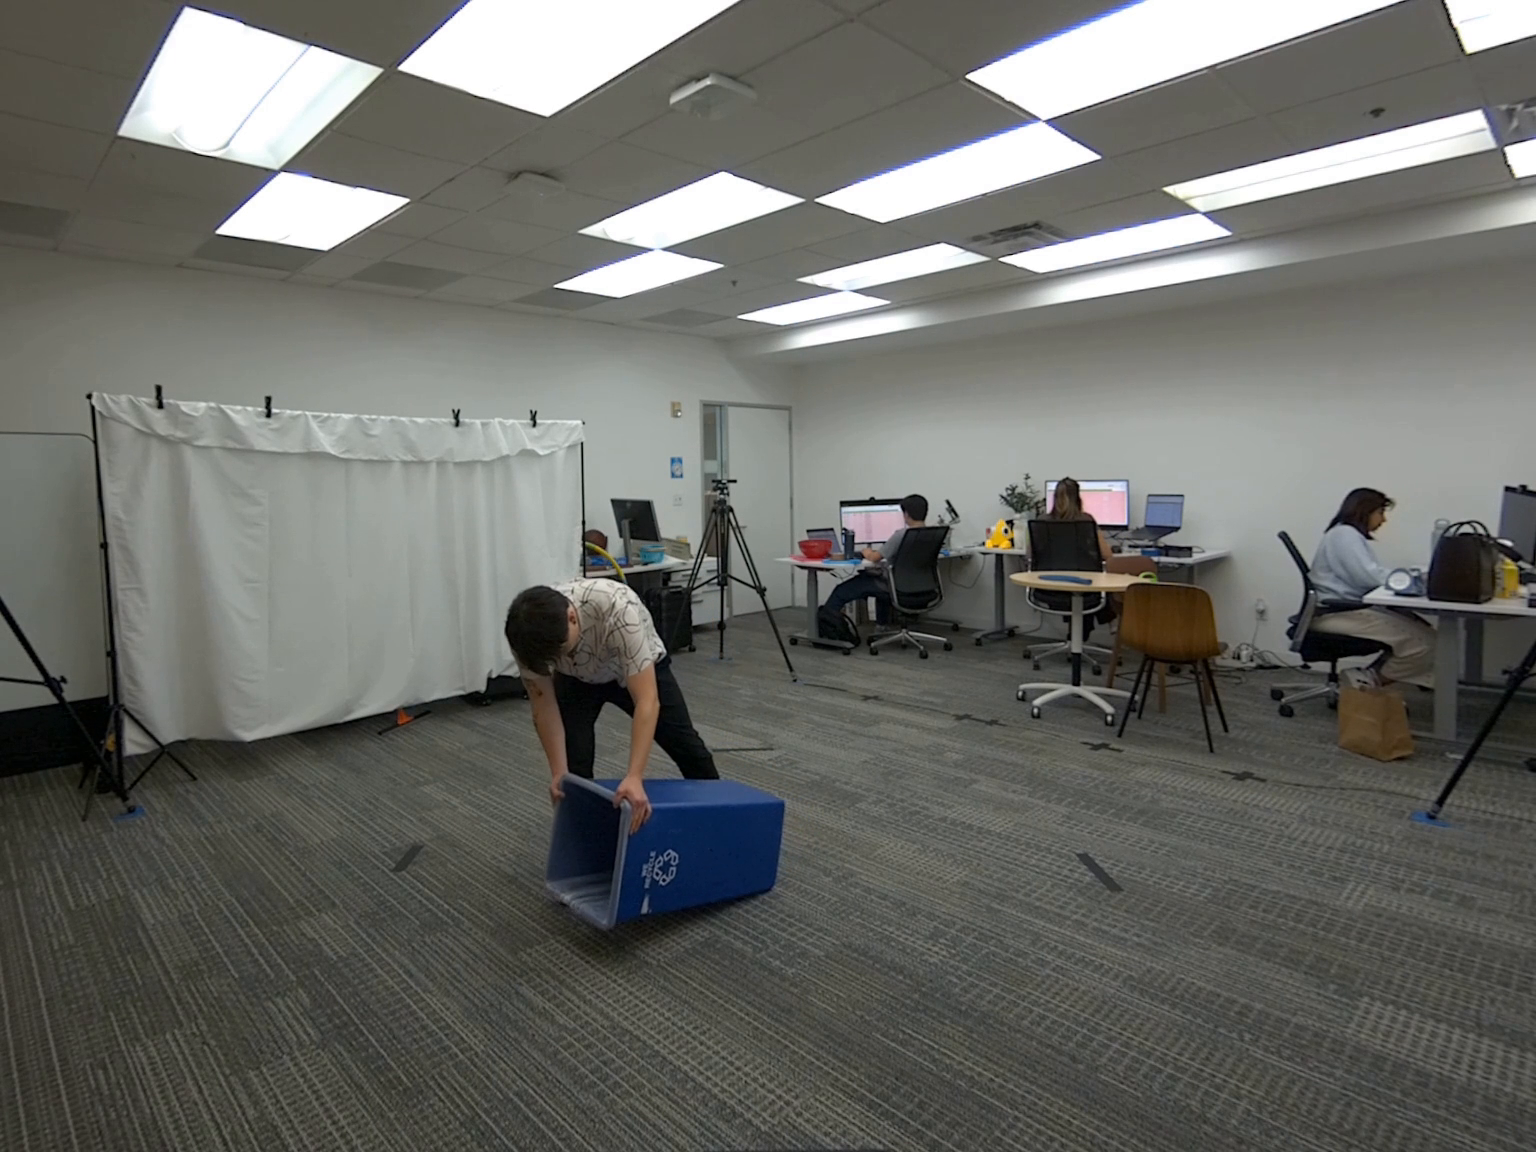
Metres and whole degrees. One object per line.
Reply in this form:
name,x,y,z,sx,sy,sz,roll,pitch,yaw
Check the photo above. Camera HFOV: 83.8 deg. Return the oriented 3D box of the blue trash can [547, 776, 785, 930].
blue trash can,-0.303,0.859,2.797,0.690,0.379,0.385,11,-5,-42
